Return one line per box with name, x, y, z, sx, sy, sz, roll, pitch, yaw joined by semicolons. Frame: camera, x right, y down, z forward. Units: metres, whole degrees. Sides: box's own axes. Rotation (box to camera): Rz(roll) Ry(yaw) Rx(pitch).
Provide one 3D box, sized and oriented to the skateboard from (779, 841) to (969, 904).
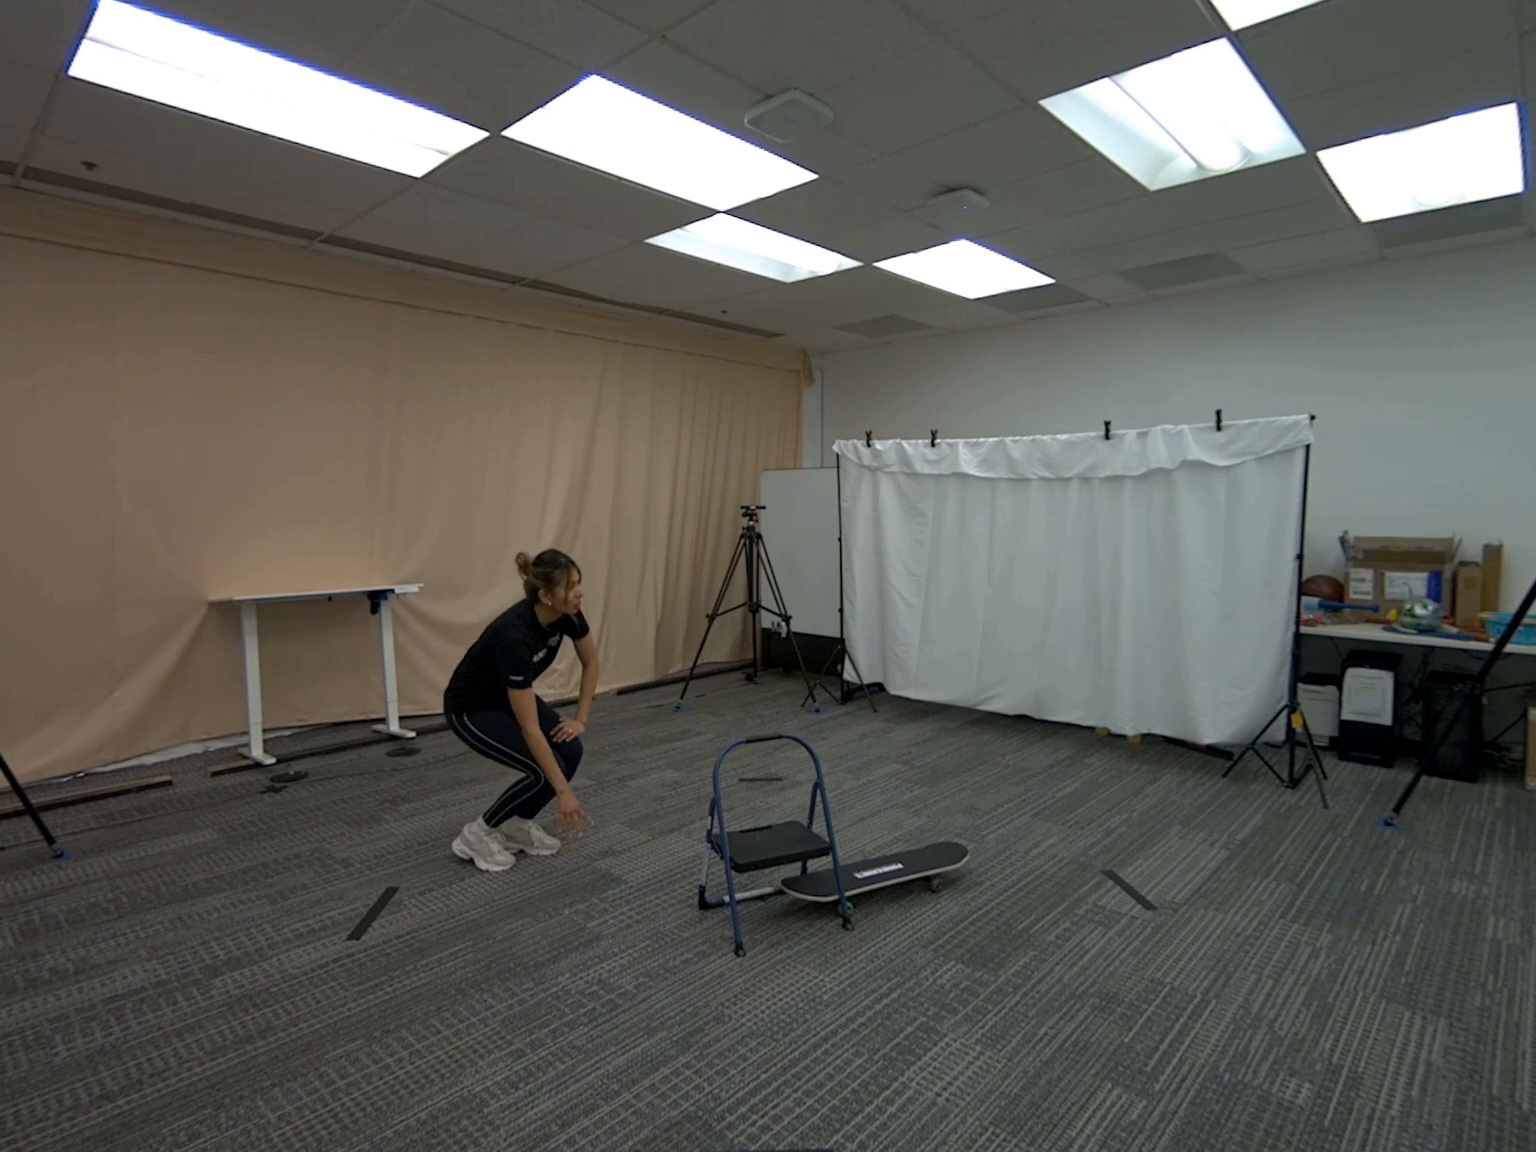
skateboard;0.399;1.082;3.003;0.766;0.110;0.199;-2;4;-27
